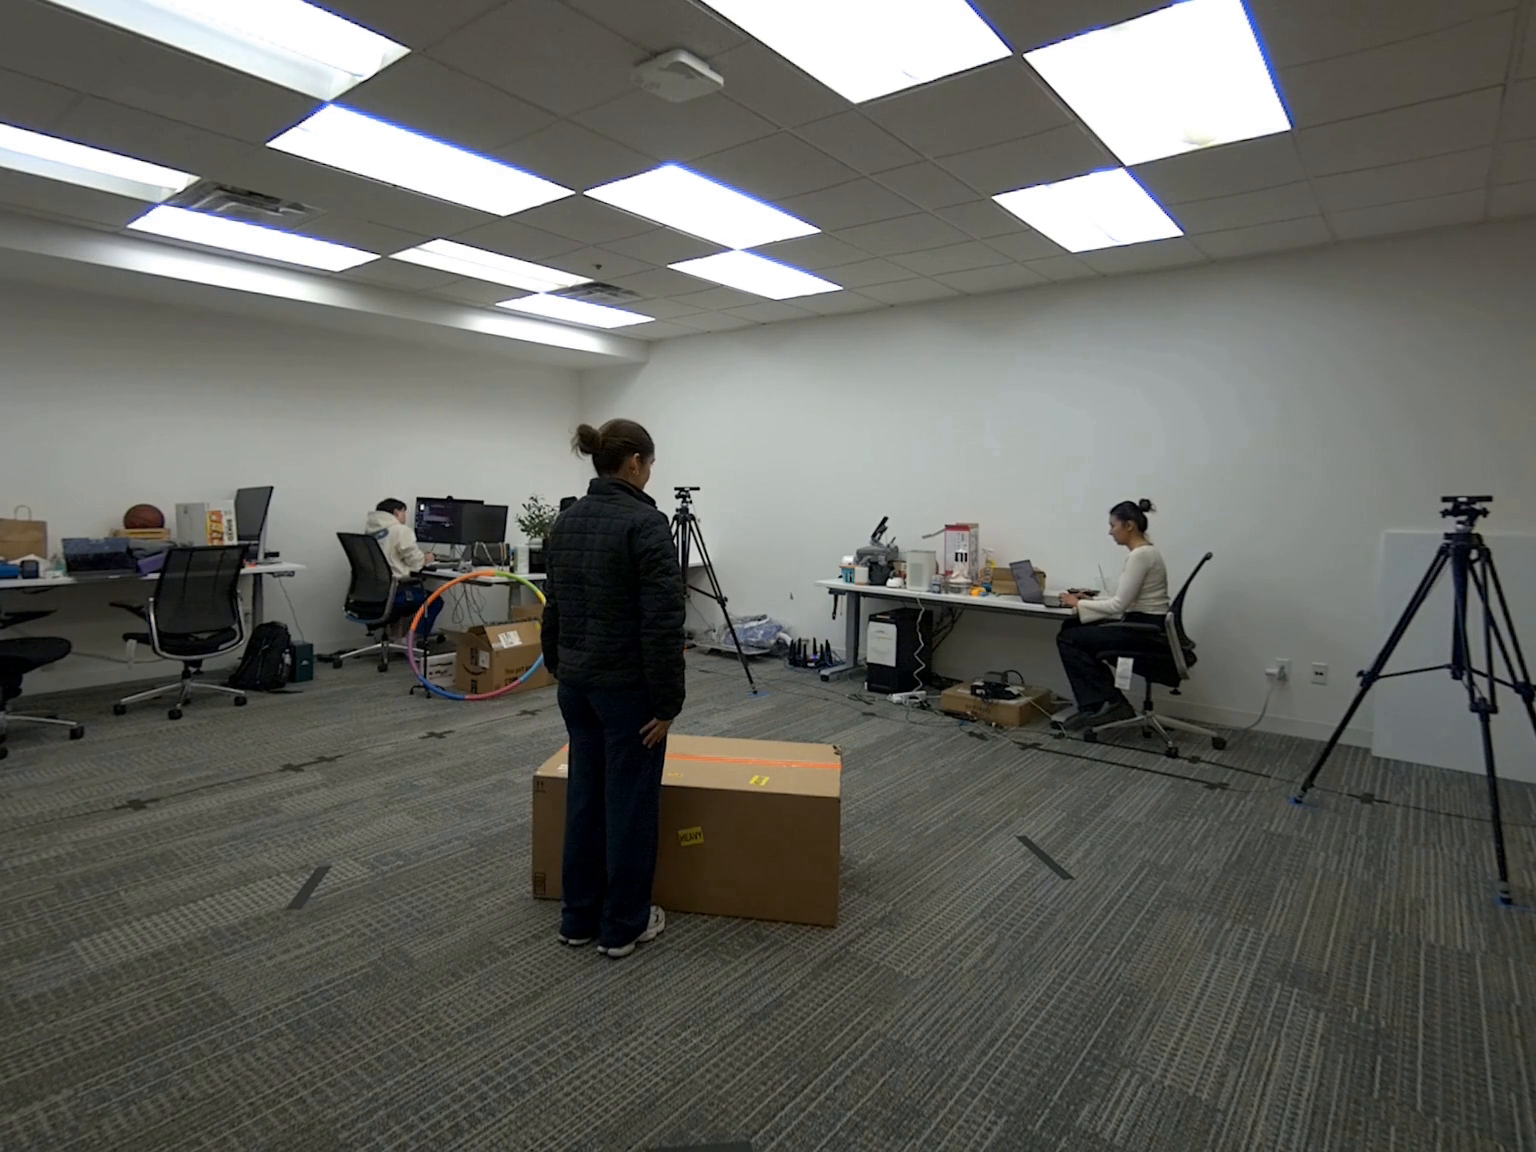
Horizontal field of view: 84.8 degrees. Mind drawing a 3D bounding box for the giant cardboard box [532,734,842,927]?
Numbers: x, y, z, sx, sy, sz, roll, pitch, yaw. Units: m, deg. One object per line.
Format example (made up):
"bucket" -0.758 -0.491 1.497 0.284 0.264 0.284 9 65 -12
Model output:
"giant cardboard box" -0.245 0.852 3.062 1.036 0.424 0.574 2 5 8
